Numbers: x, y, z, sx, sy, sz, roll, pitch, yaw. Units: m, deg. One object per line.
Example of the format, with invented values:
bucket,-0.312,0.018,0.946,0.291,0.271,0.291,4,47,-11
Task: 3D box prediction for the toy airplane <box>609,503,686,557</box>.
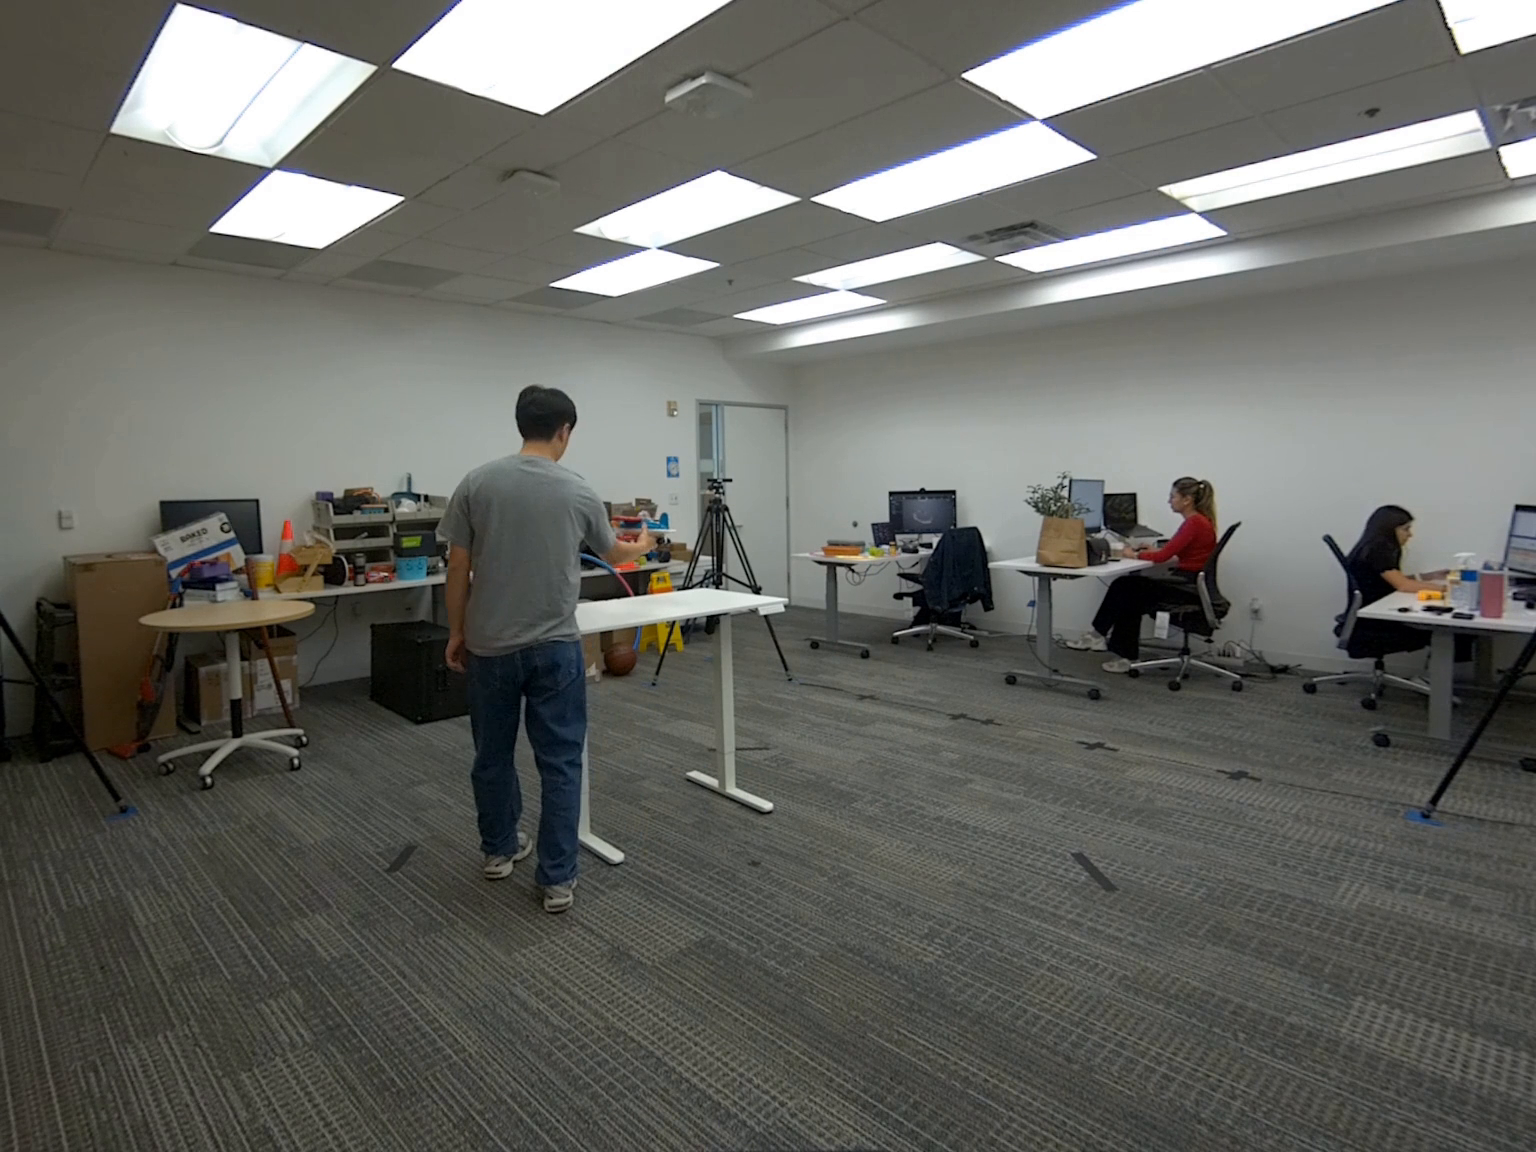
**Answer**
toy airplane,-0.499,-0.181,3.510,0.260,0.157,0.248,-11,-5,5
